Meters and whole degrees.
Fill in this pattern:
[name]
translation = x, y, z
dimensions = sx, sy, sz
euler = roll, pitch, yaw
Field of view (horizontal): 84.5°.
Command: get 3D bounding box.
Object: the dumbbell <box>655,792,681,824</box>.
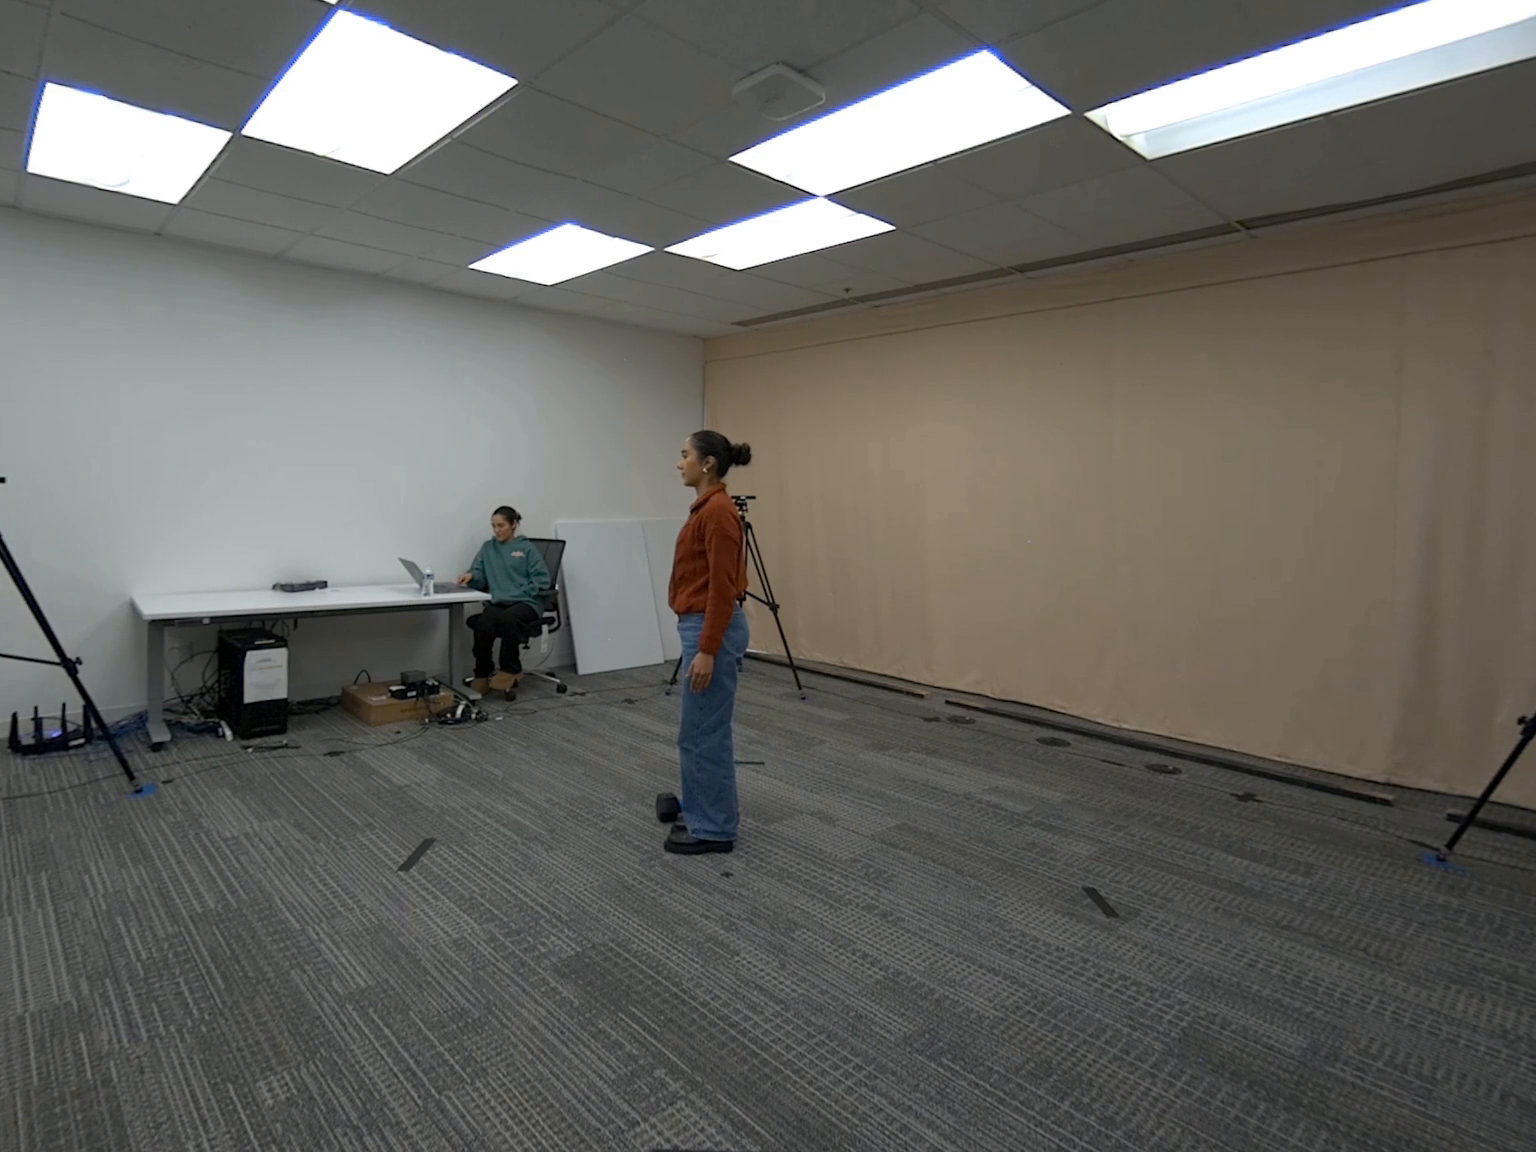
[dumbbell]
translation = -0.345, 1.001, 3.663
dimensions = 0.290, 0.121, 0.112
euler = -1, 35, -17
